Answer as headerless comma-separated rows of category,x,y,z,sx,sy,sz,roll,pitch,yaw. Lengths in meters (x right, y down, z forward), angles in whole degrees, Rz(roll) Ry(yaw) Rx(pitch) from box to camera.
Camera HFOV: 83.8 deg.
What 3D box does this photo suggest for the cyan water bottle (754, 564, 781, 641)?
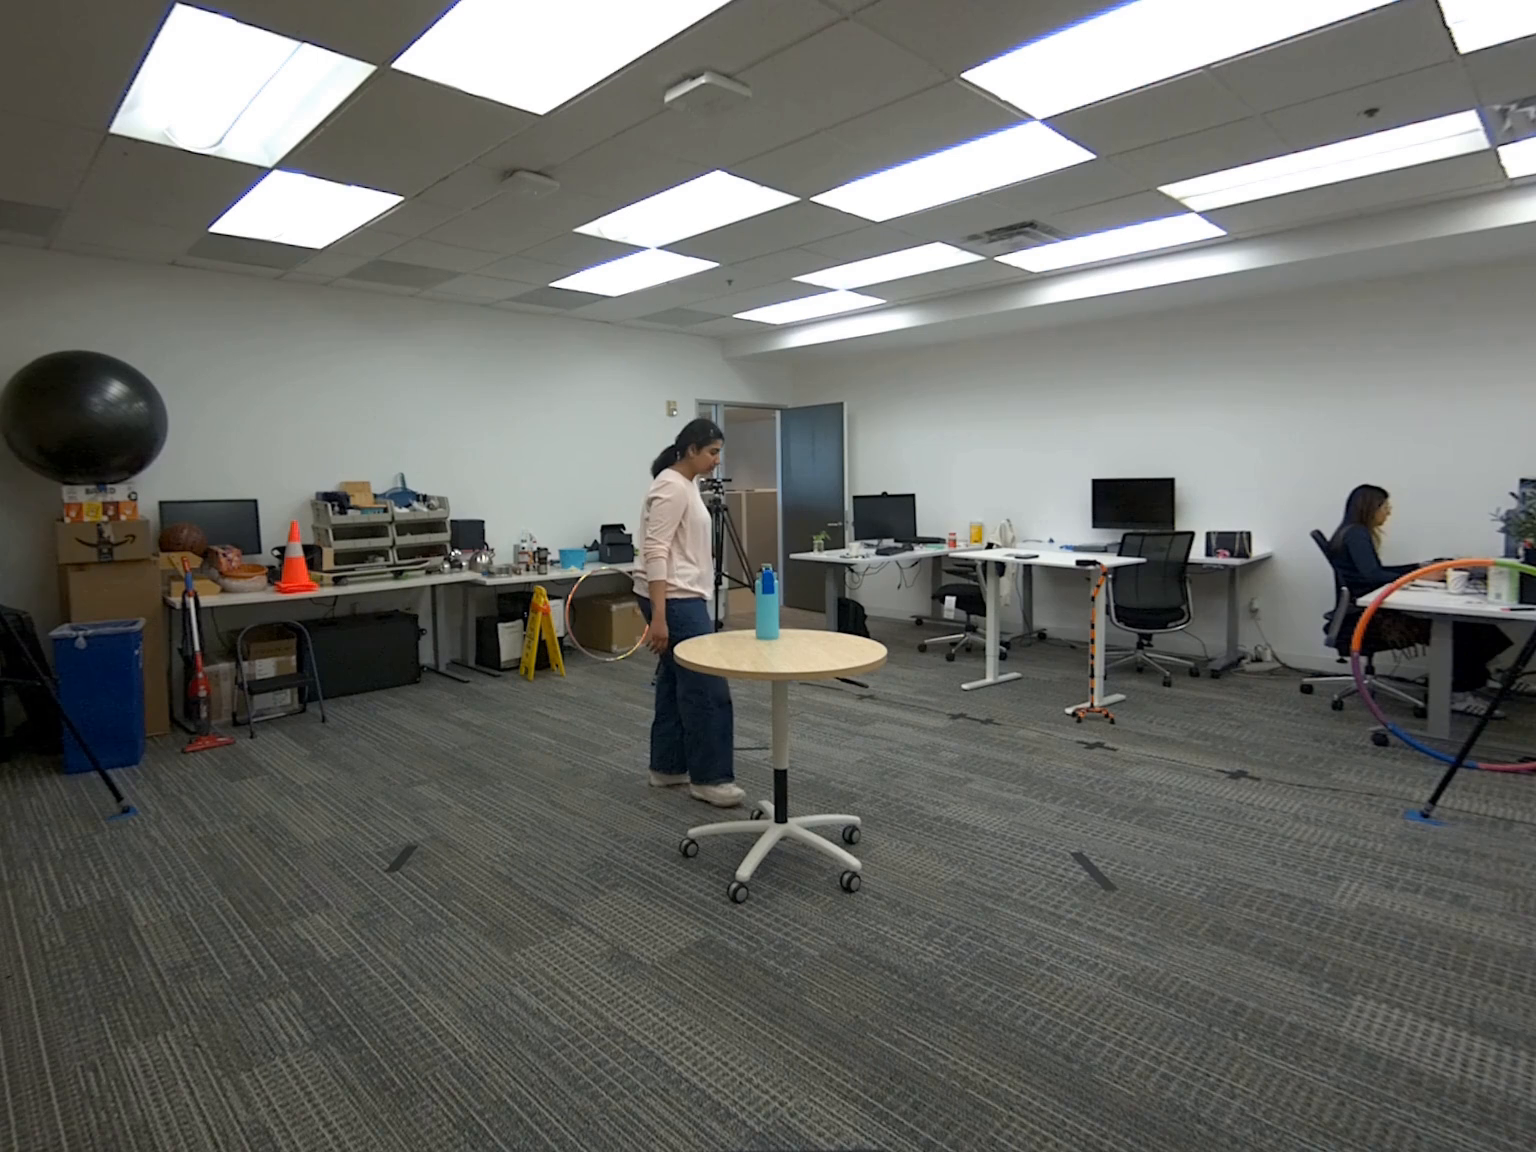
cyan water bottle,-0.001,0.100,3.280,0.092,0.282,0.093,0,4,-2
